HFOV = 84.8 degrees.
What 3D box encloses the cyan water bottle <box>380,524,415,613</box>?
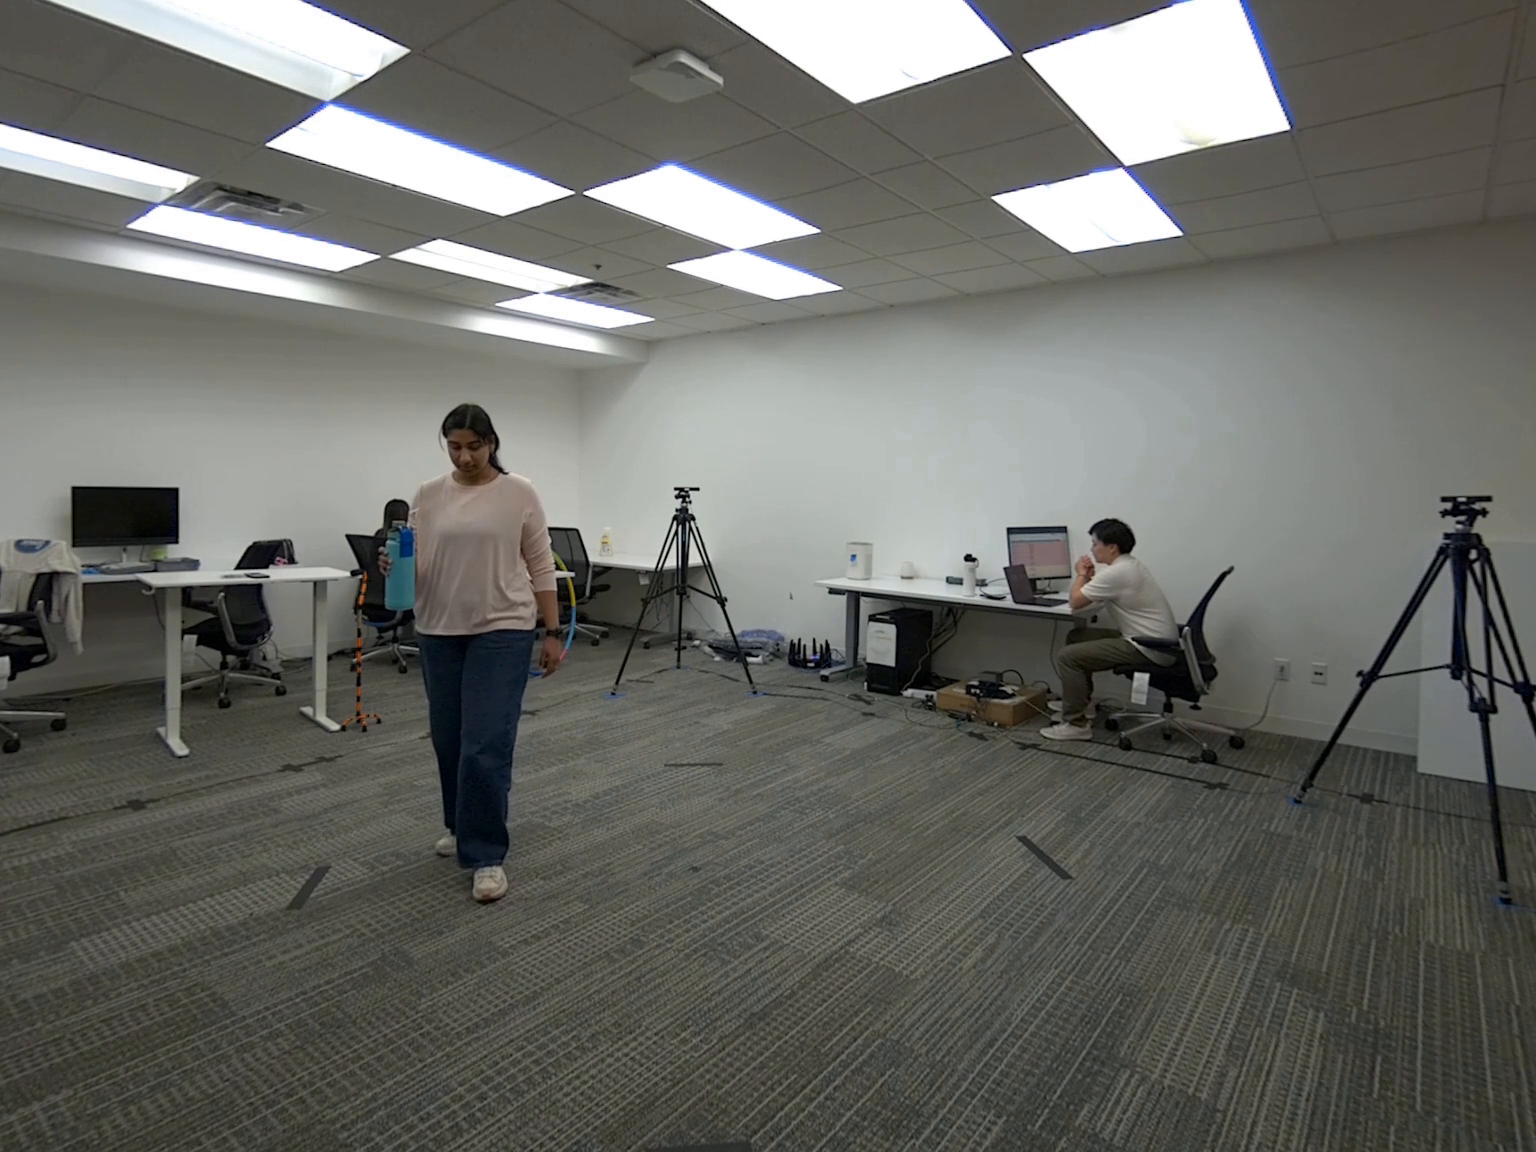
[{"bbox_3d":[-1.220,-0.038,2.773,0.092,0.281,0.093,5,9,-3],"label":"cyan water bottle"}]
